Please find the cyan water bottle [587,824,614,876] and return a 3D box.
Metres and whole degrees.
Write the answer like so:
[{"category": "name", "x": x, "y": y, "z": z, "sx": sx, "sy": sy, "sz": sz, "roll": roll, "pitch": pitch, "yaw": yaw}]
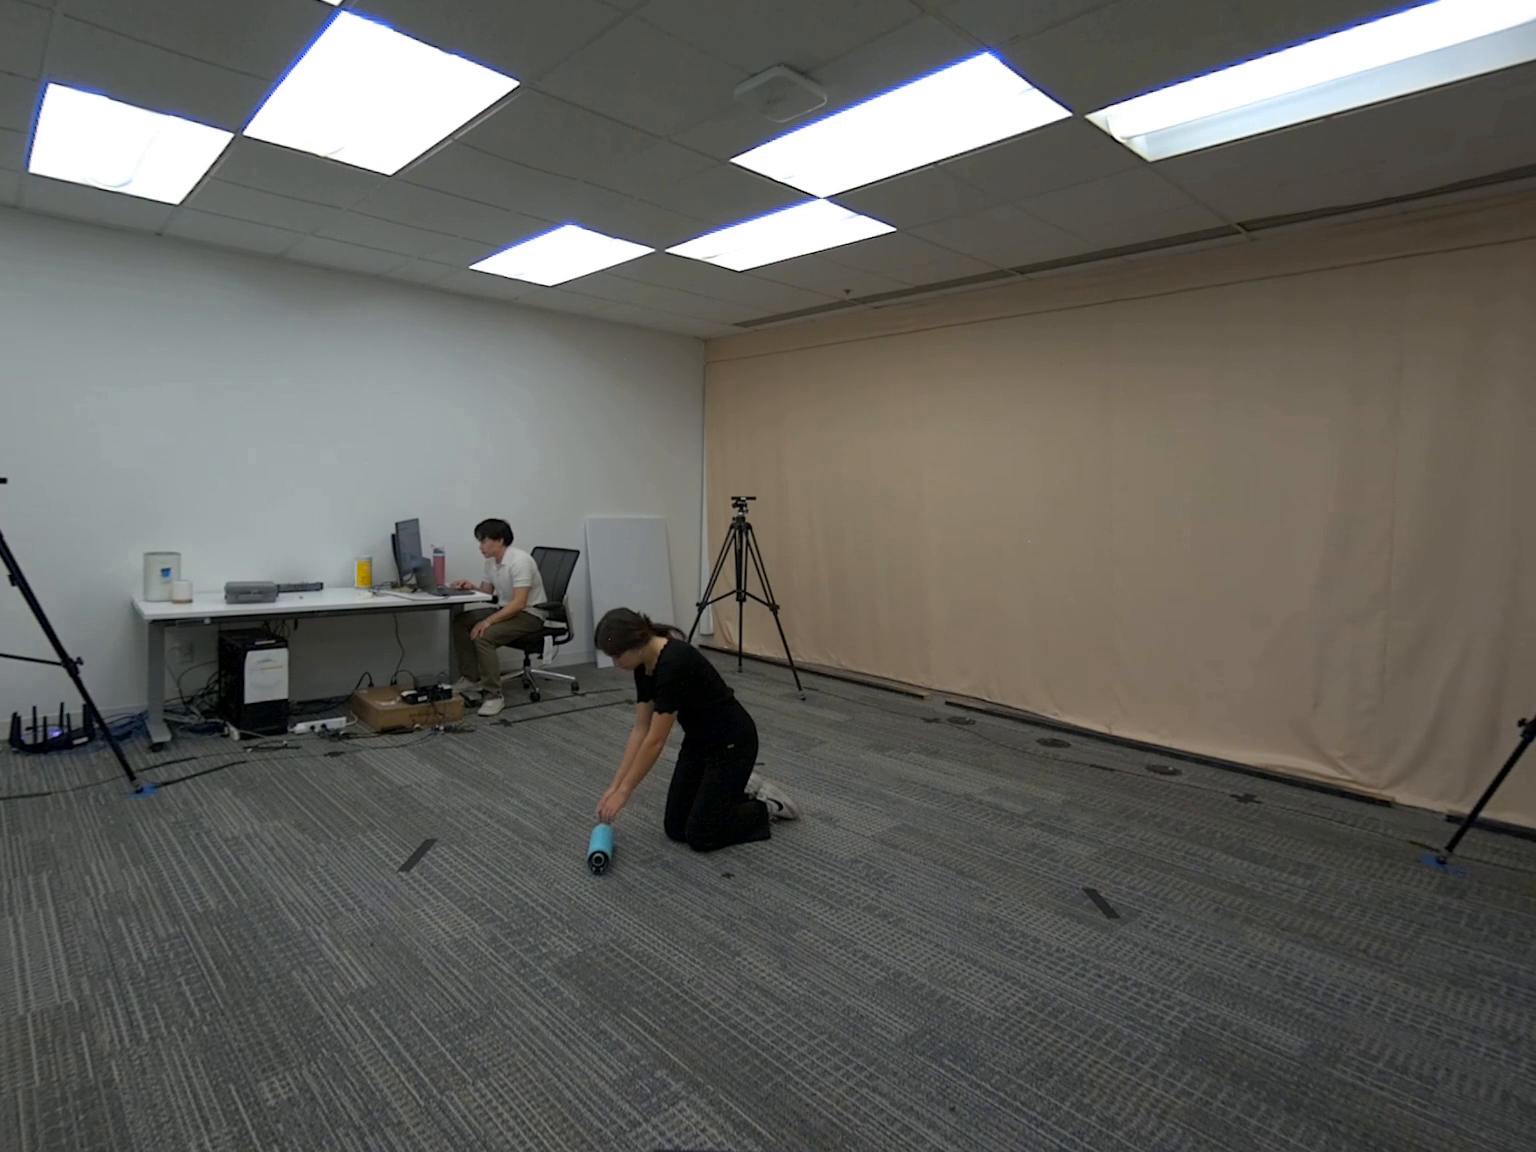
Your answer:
[{"category": "cyan water bottle", "x": -0.647, "y": 1.041, "z": 3.197, "sx": 0.092, "sy": 0.092, "sz": 0.285, "roll": 1, "pitch": 5, "yaw": -7}]
